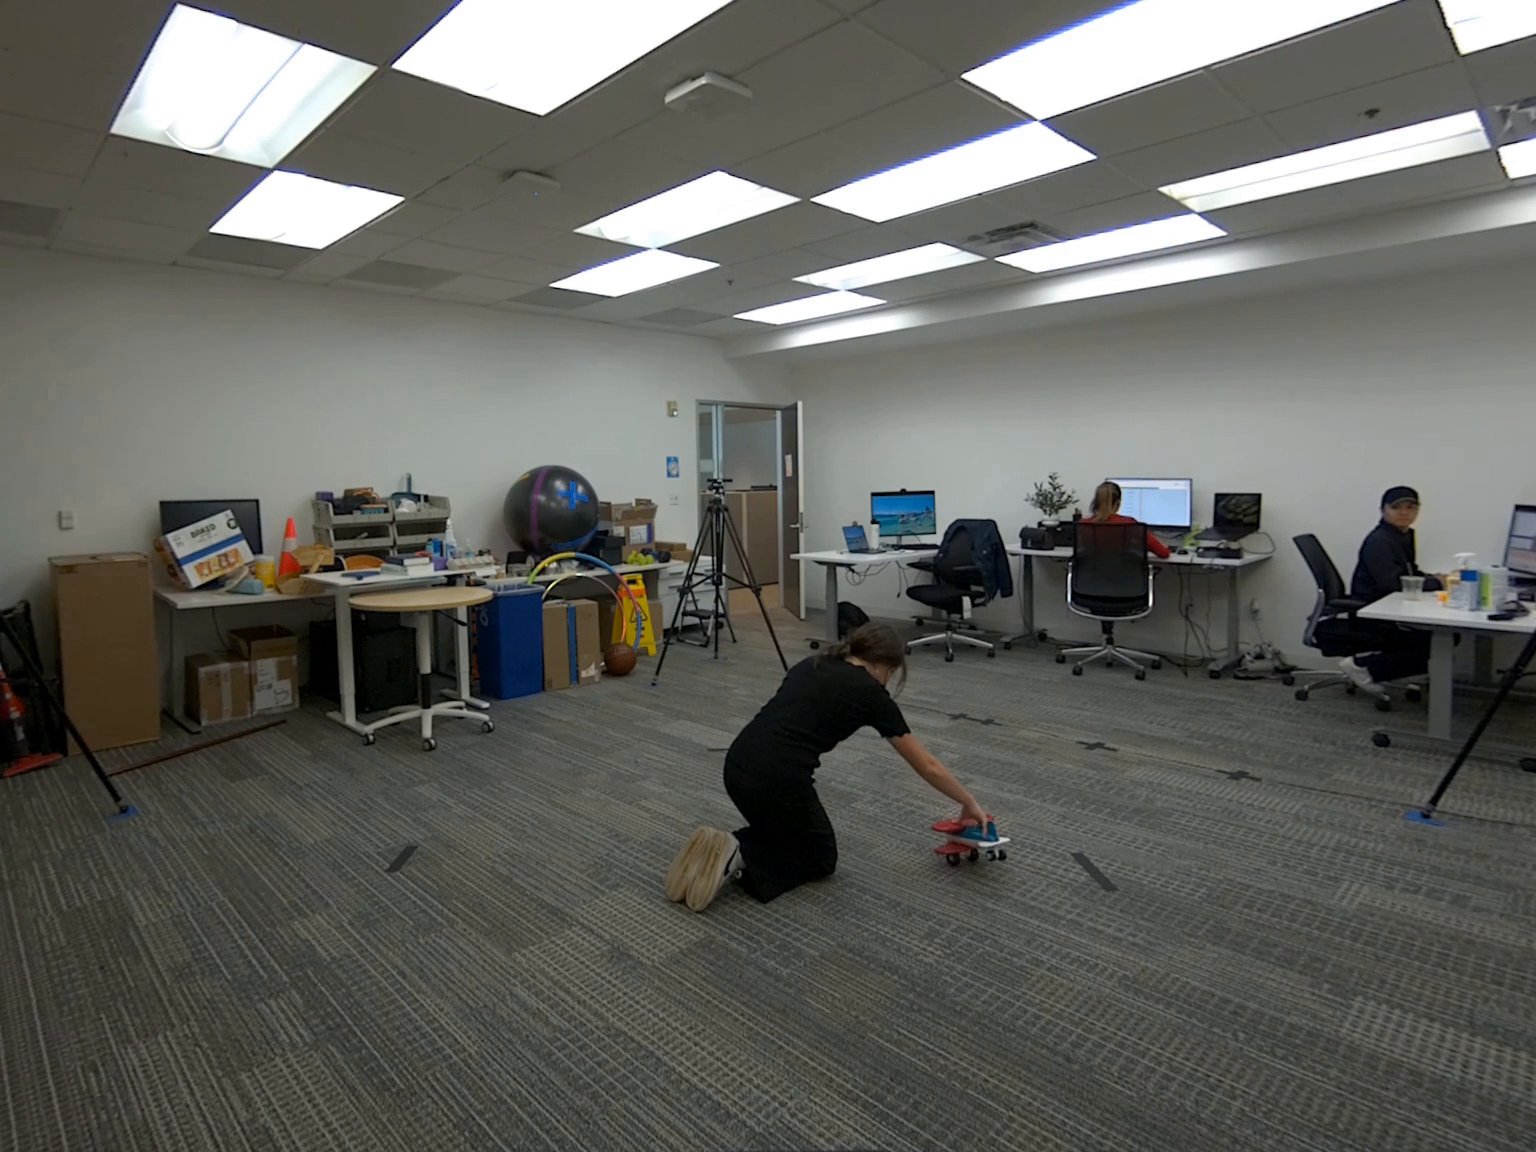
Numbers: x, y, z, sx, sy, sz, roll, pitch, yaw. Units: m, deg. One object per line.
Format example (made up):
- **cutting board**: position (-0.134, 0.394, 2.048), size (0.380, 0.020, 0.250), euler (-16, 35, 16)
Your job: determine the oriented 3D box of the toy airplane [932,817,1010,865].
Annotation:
- **toy airplane**: position (0.736, 0.937, 3.037), size (0.263, 0.160, 0.243), euler (-24, -22, 32)
